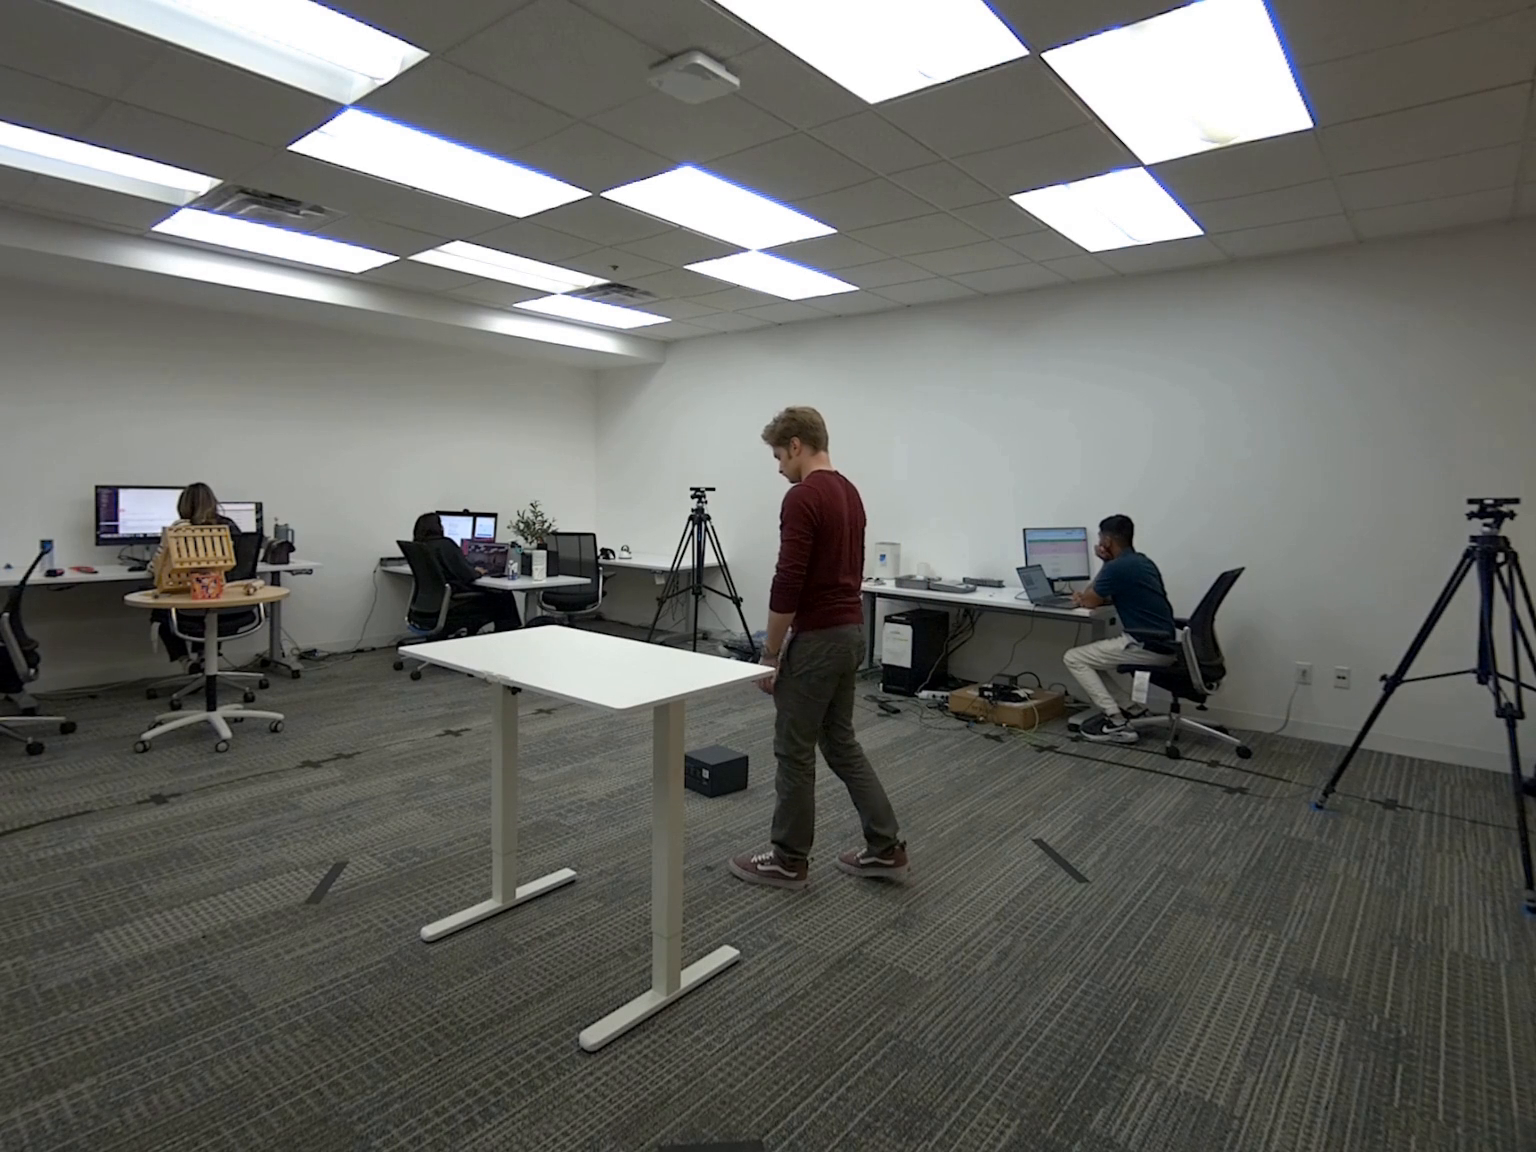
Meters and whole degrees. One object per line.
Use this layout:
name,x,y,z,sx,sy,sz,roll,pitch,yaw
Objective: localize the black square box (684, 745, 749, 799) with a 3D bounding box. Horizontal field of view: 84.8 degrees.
black square box,-0.258,0.899,3.962,0.221,0.155,0.224,-3,6,-44
